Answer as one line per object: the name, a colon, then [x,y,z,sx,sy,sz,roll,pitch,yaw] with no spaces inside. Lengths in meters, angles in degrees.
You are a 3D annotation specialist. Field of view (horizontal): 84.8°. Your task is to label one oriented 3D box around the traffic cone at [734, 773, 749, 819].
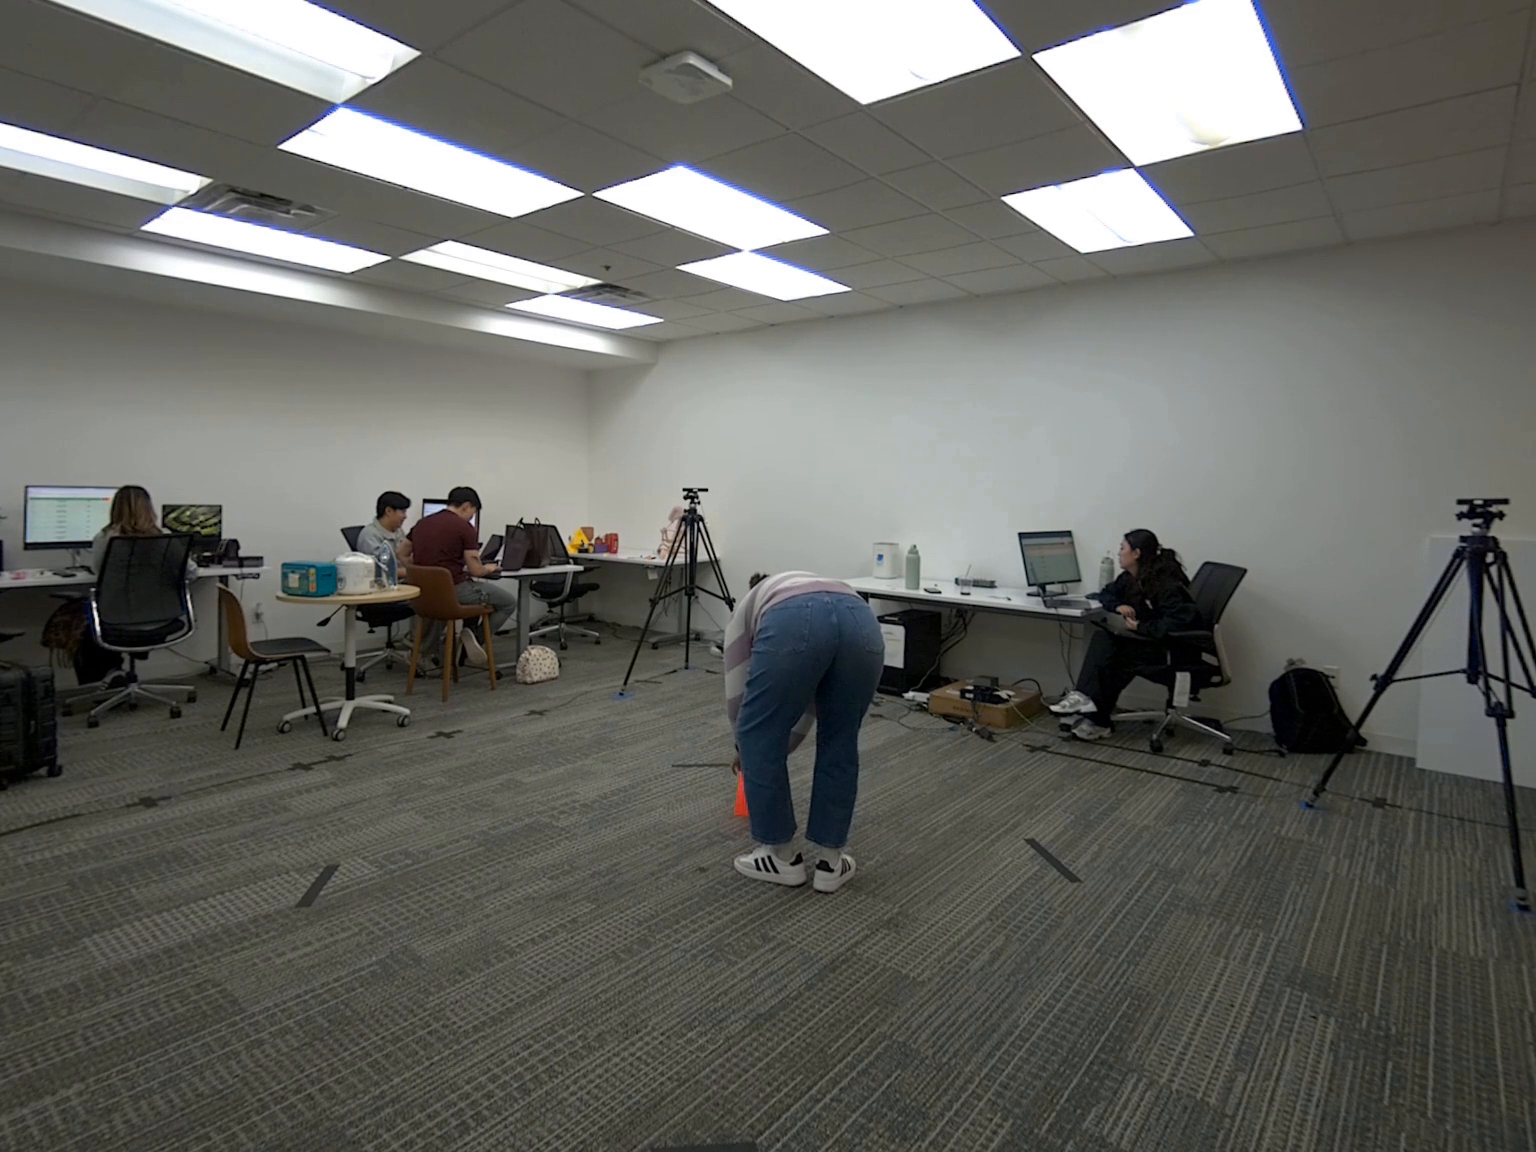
traffic cone: [-0.051,0.829,3.507,0.206,0.209,0.371,7,-35,11]
